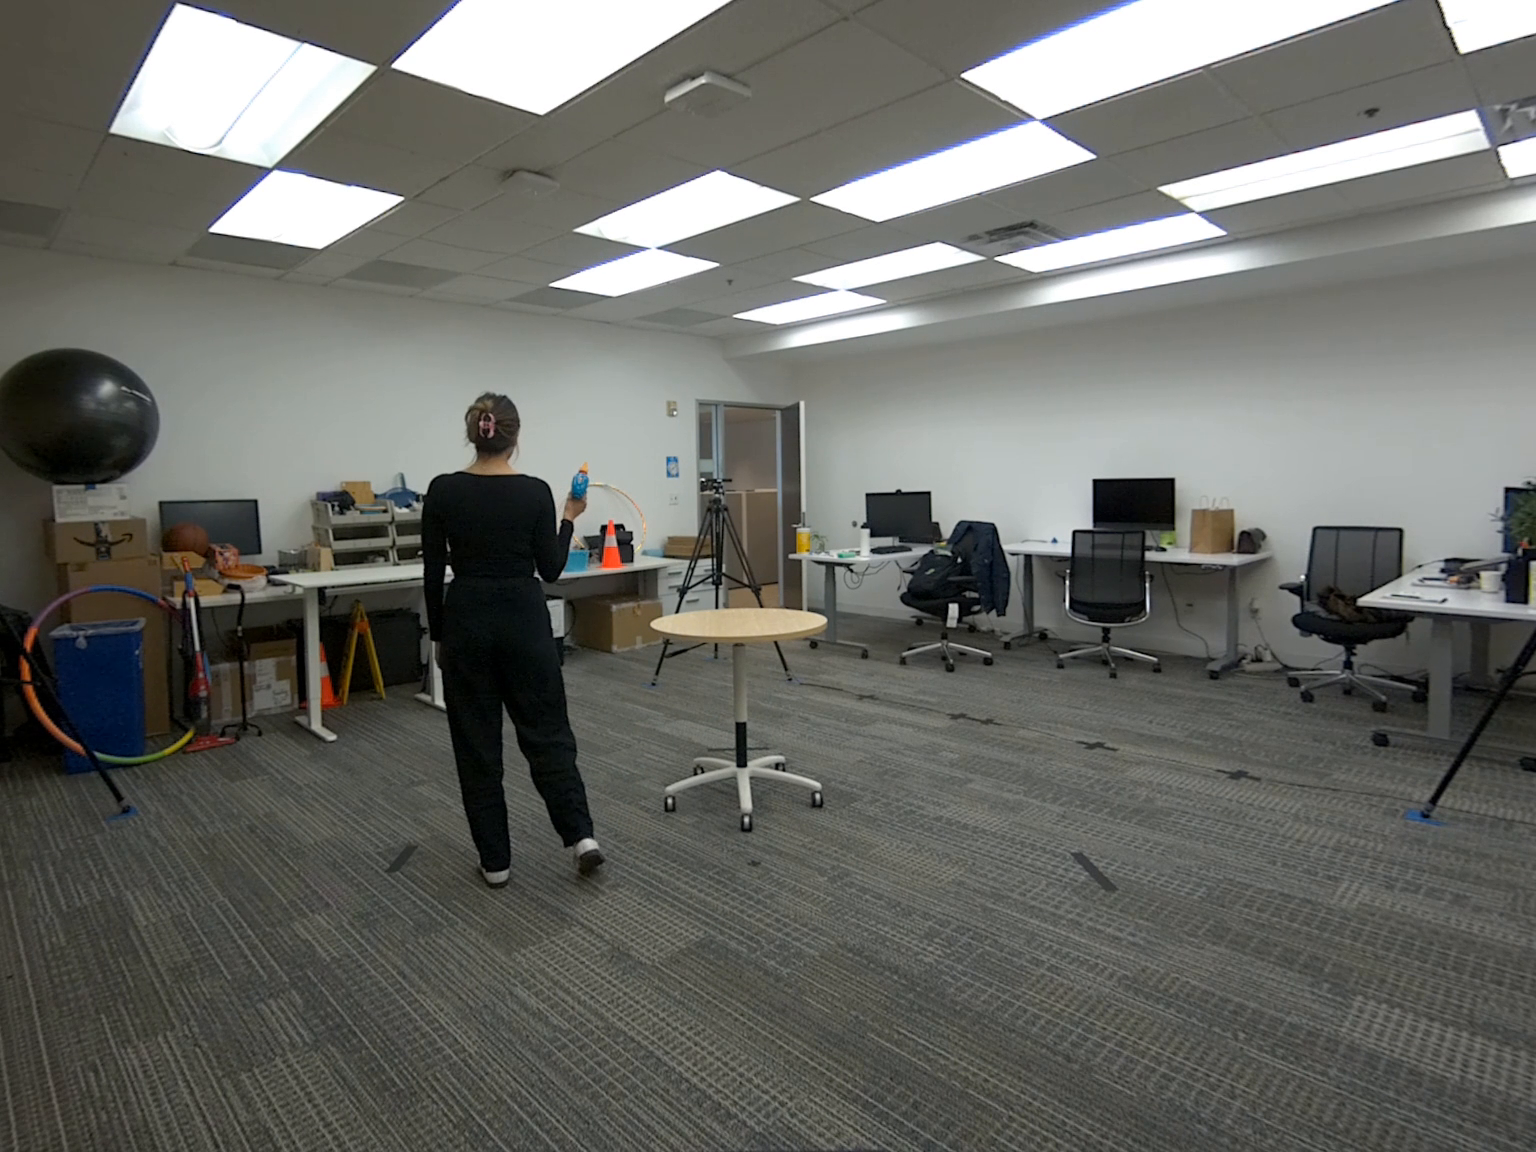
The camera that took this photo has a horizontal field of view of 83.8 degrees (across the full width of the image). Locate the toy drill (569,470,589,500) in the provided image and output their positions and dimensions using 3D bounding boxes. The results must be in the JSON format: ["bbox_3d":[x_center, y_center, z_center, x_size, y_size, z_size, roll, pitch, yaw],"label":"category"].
[{"bbox_3d":[-0.707,-0.344,3.237,0.060,0.174,0.144,9,-33,-9],"label":"toy drill"}]
